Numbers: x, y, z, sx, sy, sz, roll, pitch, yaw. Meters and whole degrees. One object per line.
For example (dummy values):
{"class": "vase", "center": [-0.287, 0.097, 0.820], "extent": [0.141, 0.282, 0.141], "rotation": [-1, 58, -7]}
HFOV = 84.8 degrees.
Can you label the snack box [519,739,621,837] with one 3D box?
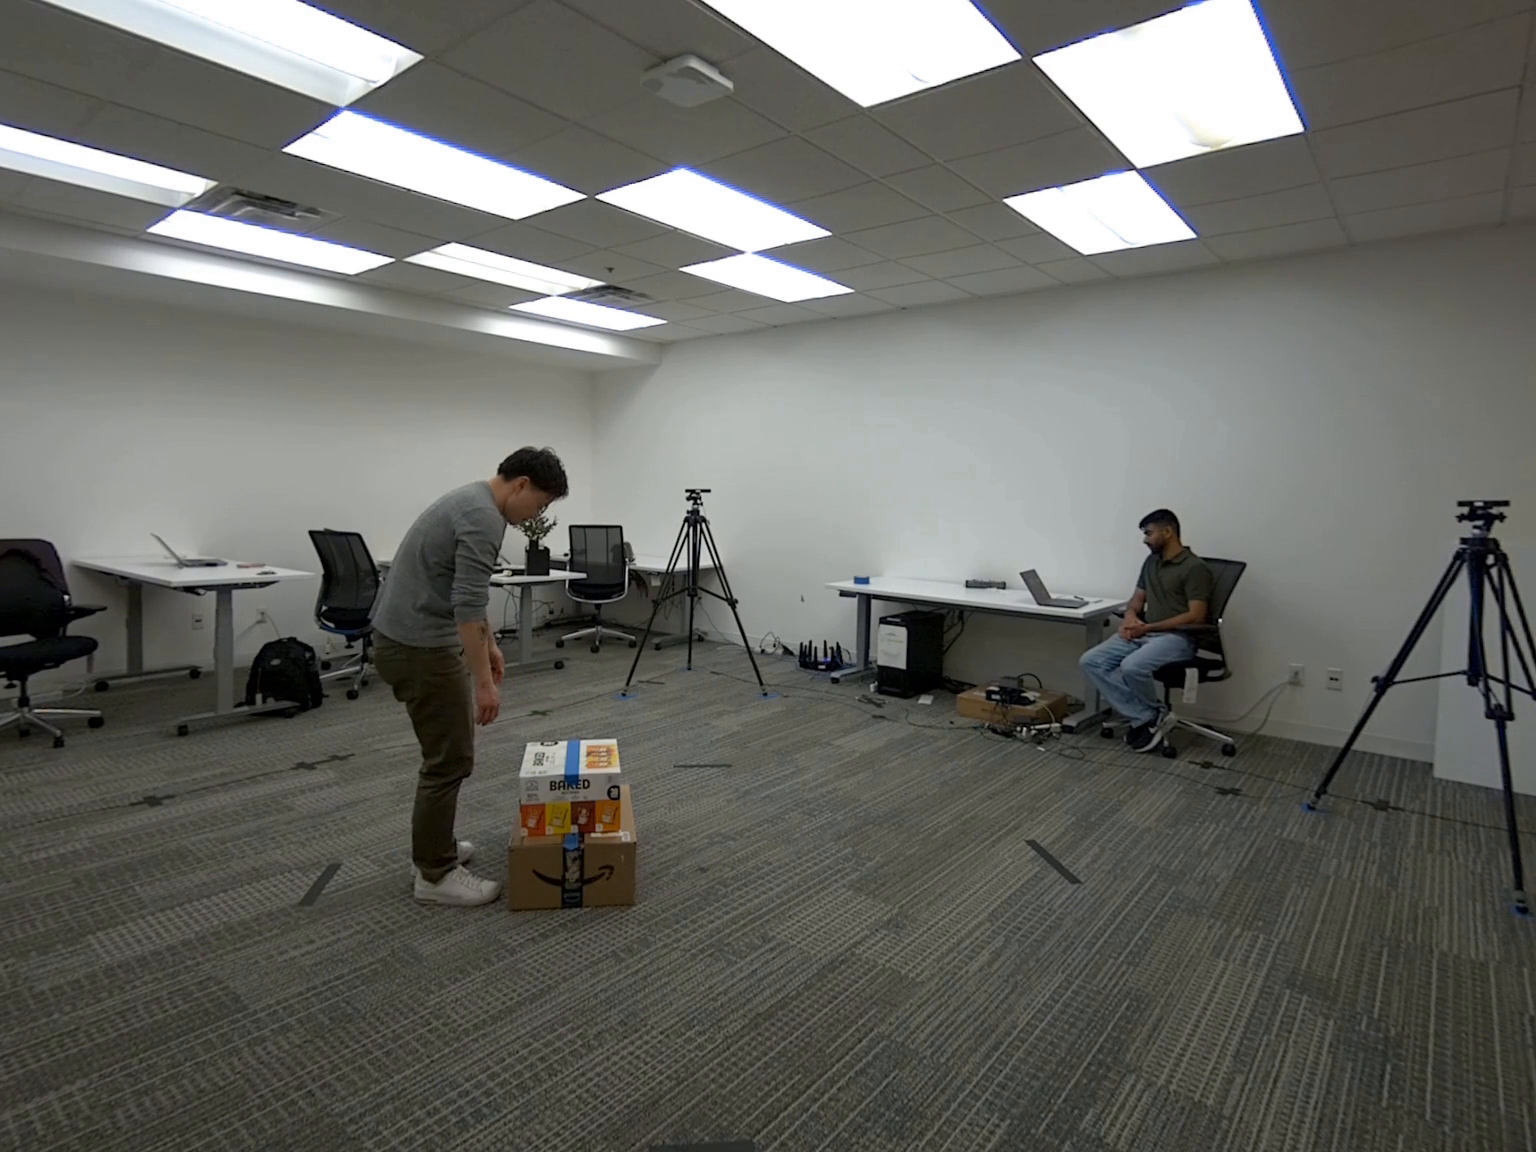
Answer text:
{"class": "snack box", "center": [-0.721, 0.754, 3.069], "extent": [0.337, 0.205, 0.411], "rotation": [-1, 6, -11]}
